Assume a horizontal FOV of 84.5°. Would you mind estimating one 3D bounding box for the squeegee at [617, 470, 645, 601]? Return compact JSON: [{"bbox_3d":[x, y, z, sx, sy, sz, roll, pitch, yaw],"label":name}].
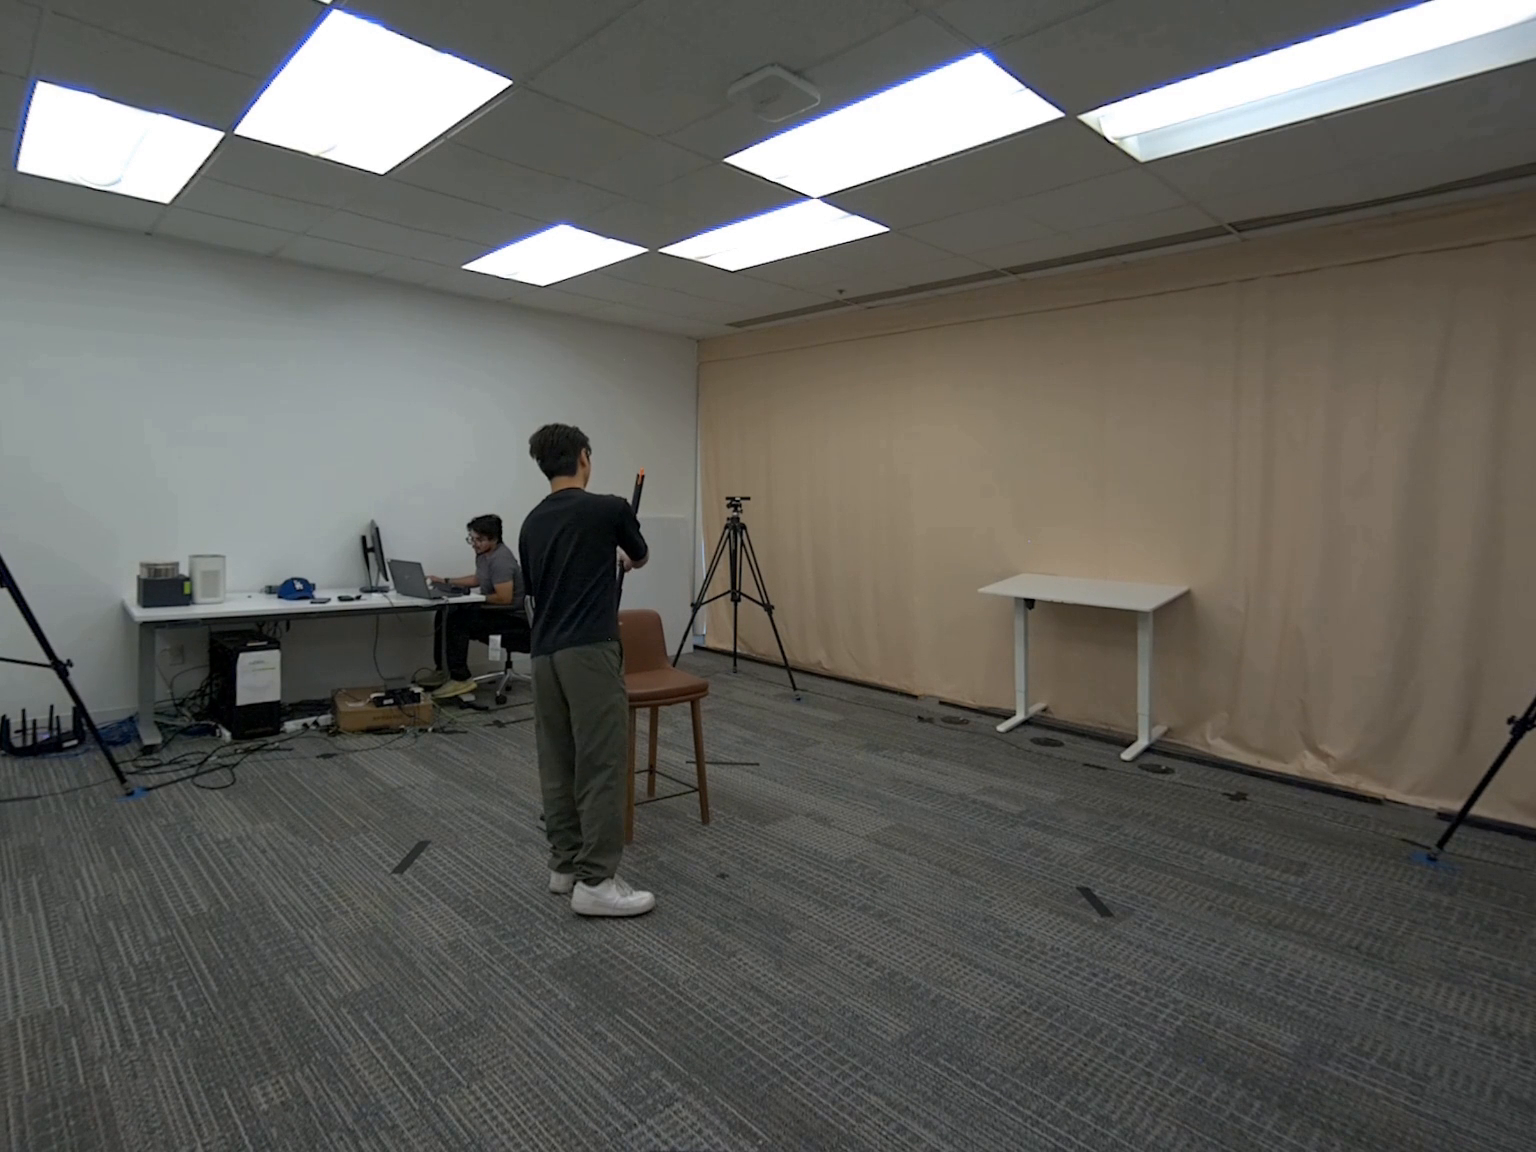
[{"bbox_3d":[-0.681,0.313,3.427,0.051,1.542,0.447,7,-5,-40],"label":"squeegee"}]
